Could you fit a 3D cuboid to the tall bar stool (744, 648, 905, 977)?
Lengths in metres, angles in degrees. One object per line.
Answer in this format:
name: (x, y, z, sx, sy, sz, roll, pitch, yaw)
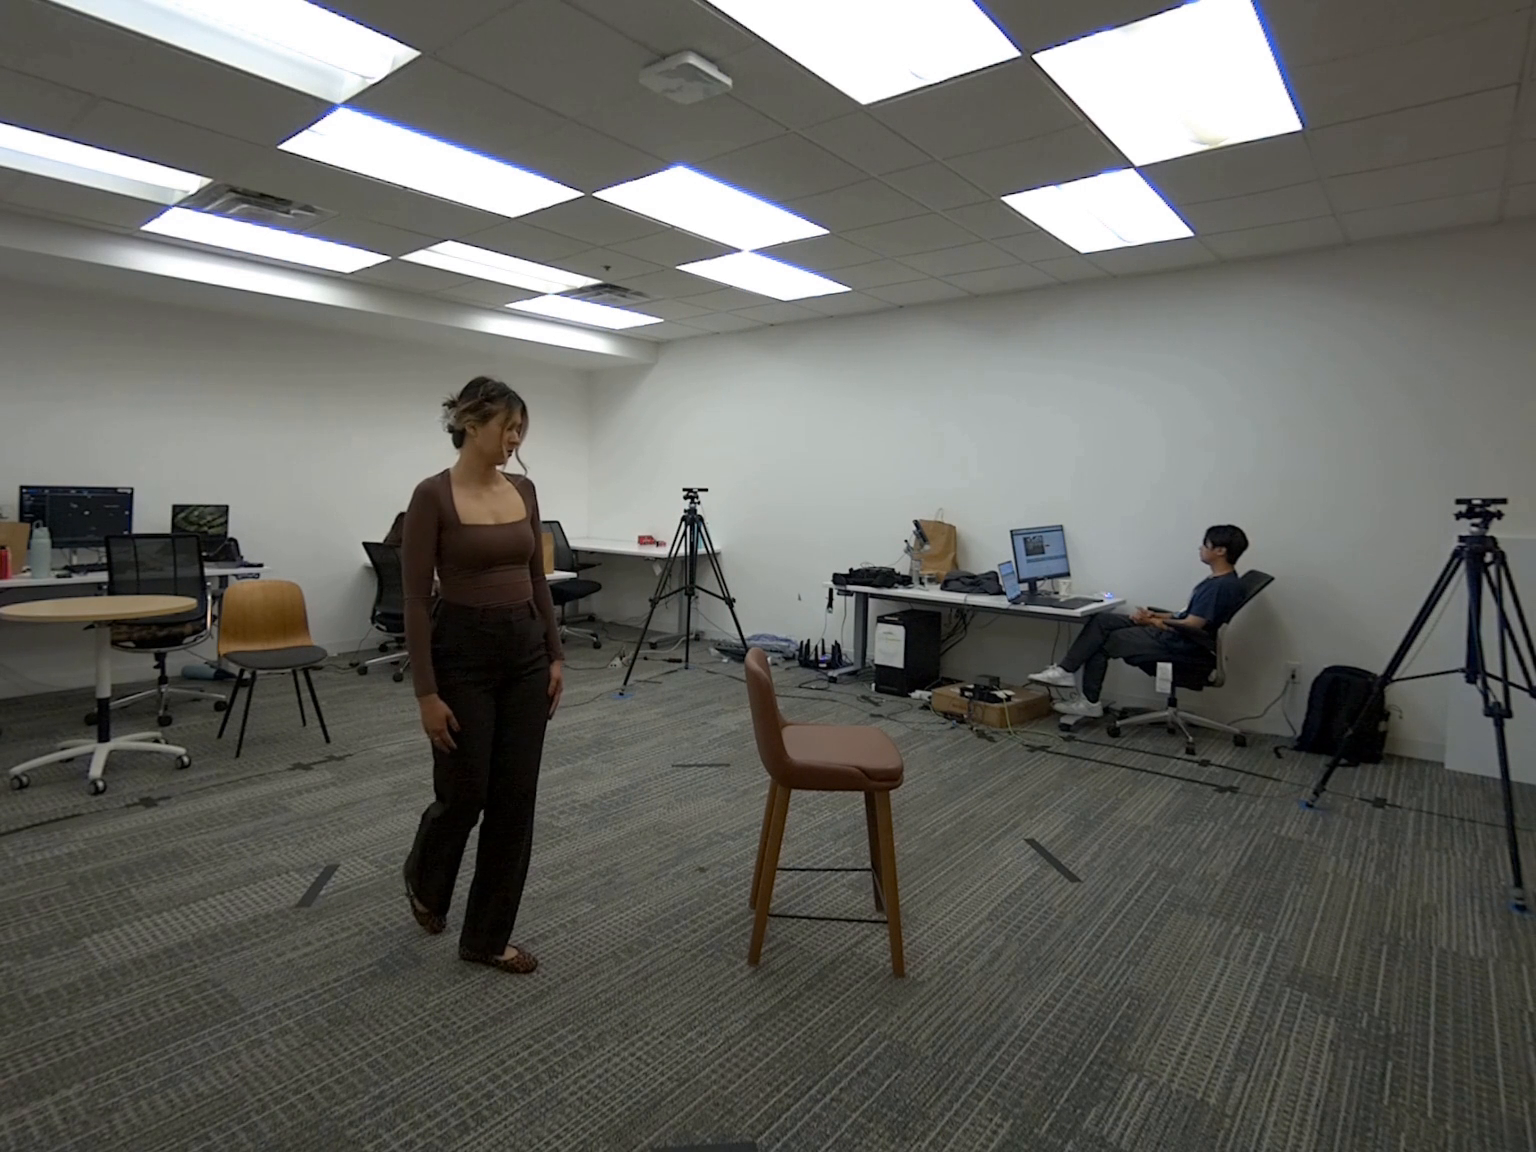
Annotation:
tall bar stool: (0.162, 0.688, 2.629, 0.469, 0.887, 0.456, -1, 3, 2)
